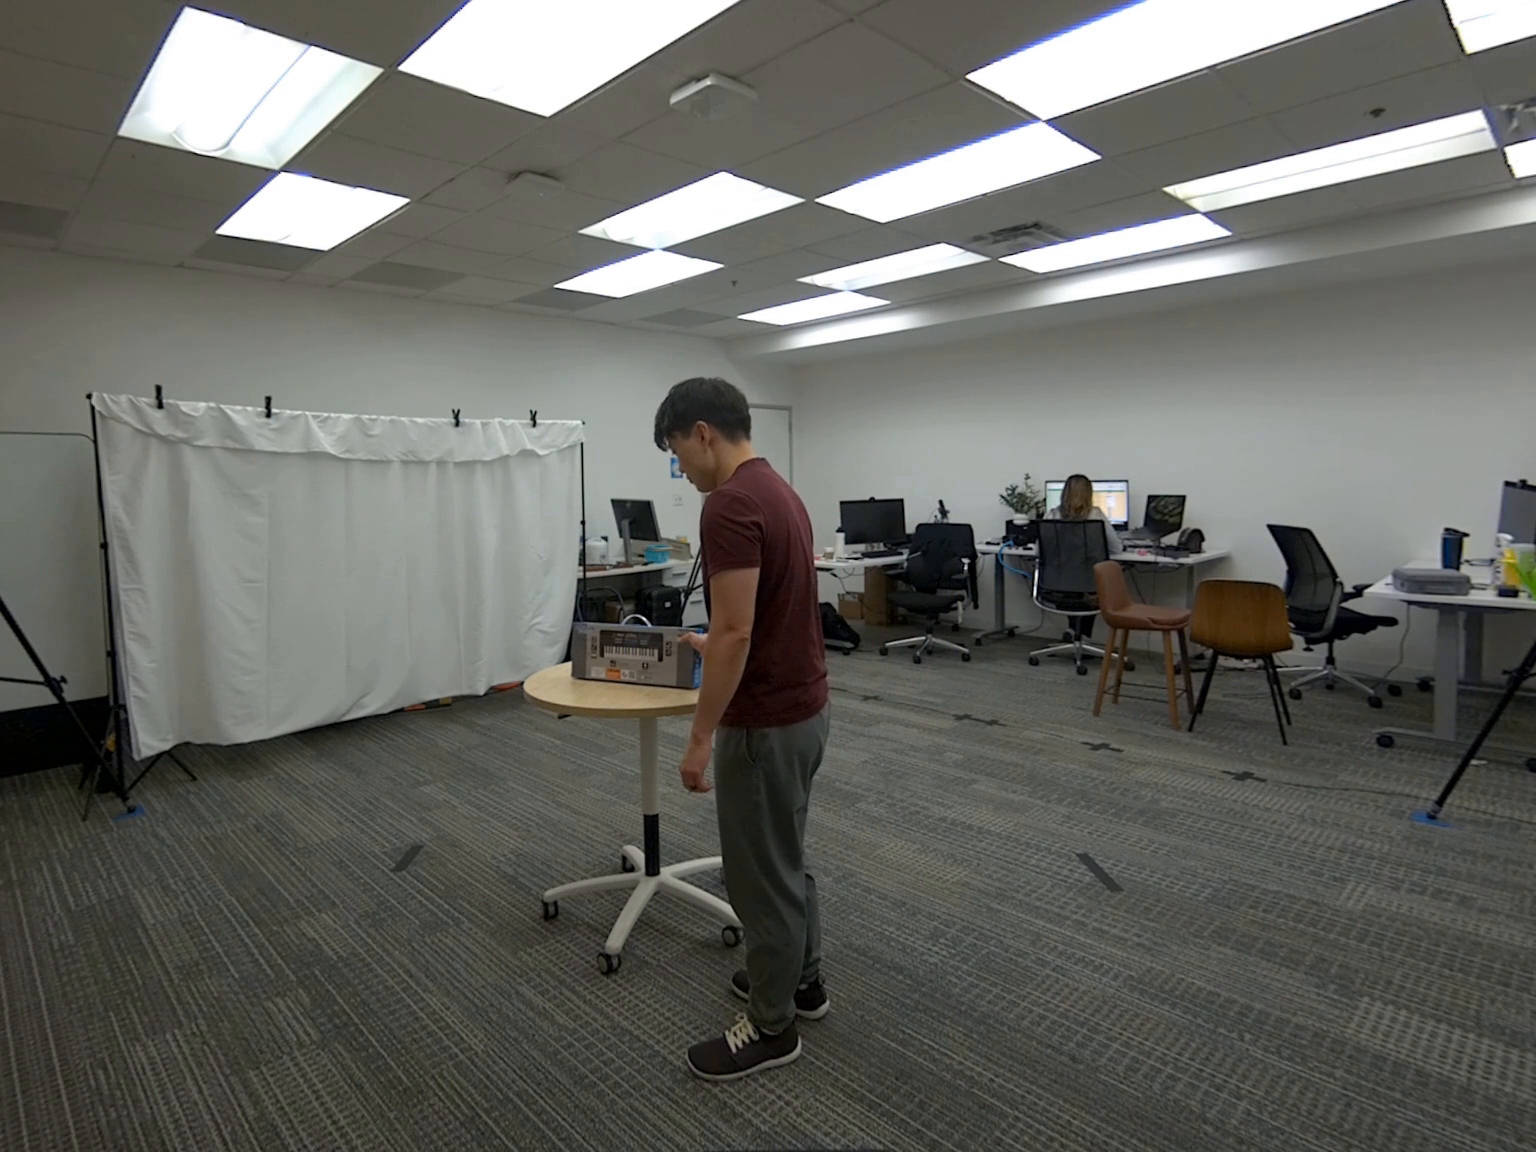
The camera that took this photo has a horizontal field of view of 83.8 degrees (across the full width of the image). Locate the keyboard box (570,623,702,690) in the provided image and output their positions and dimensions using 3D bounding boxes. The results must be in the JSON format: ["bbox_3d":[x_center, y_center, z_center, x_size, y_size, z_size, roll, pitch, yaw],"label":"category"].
[{"bbox_3d":[-0.410,0.241,2.625,0.447,0.176,0.057,1,-3,25],"label":"keyboard box"}]
